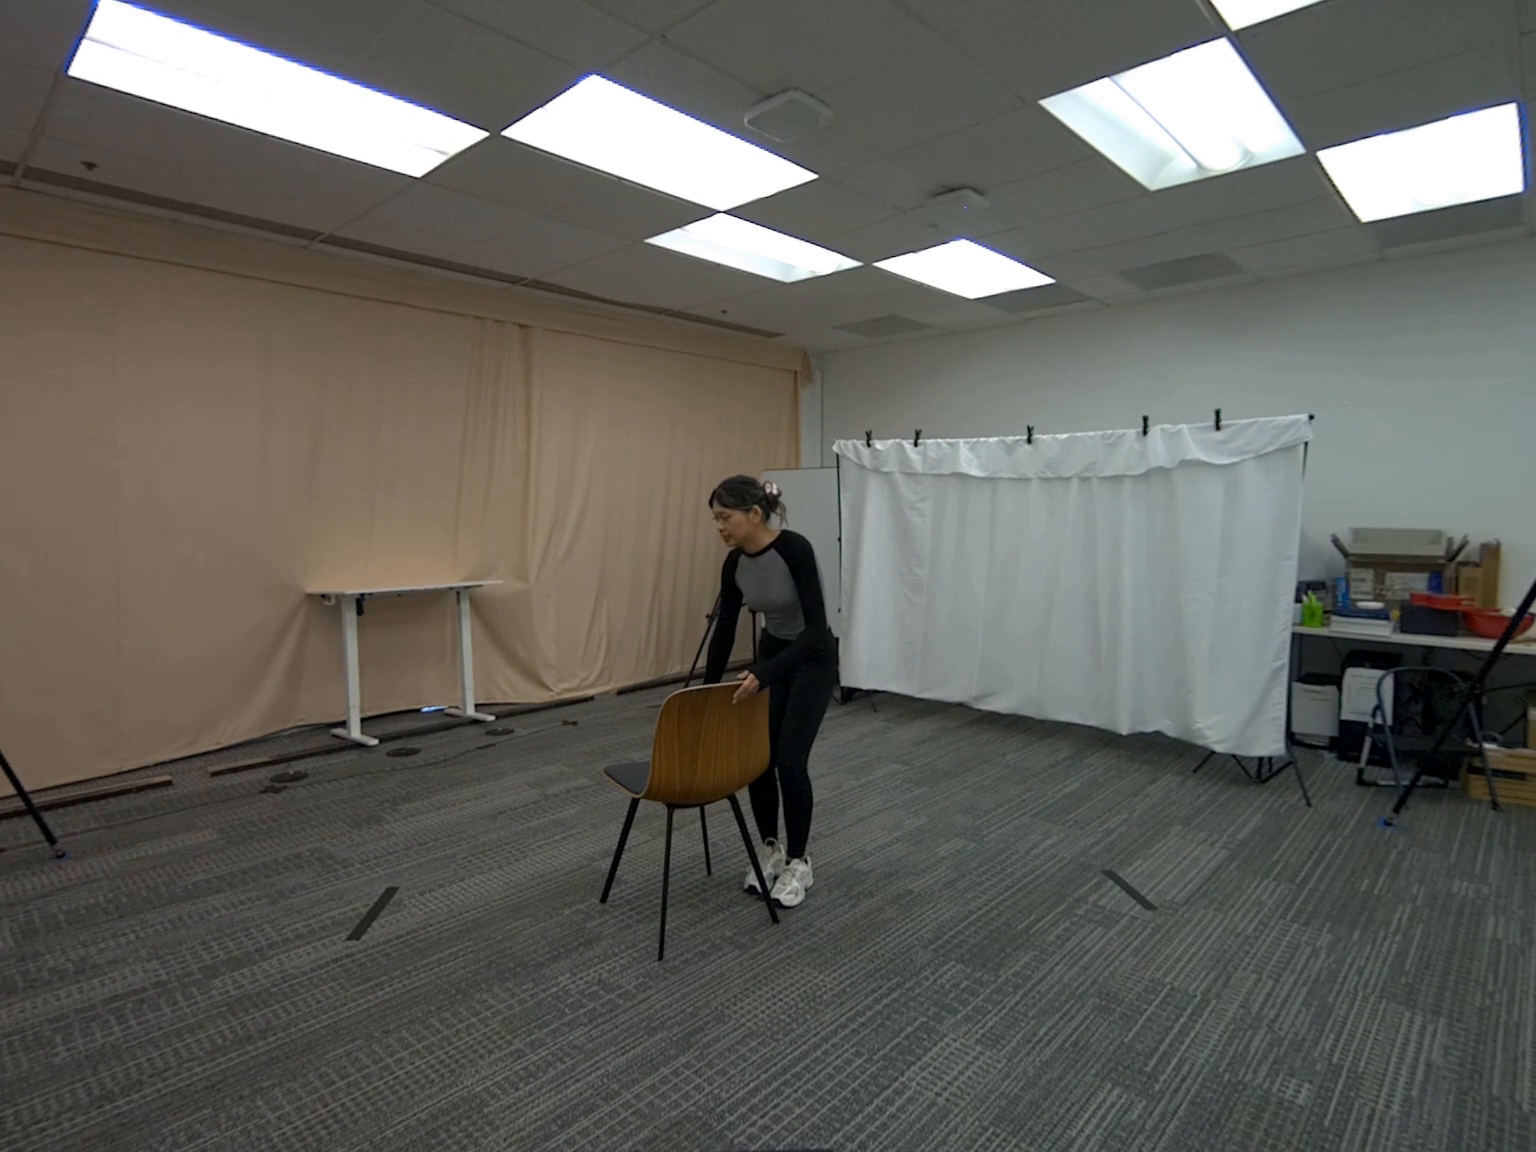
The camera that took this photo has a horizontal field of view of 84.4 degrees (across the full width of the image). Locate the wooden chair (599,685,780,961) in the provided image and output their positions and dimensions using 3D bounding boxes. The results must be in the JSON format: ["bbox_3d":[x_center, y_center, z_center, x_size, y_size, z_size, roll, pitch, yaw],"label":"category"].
[{"bbox_3d":[-0.285,0.727,2.863,0.465,0.874,0.540,-3,8,-33],"label":"wooden chair"}]
